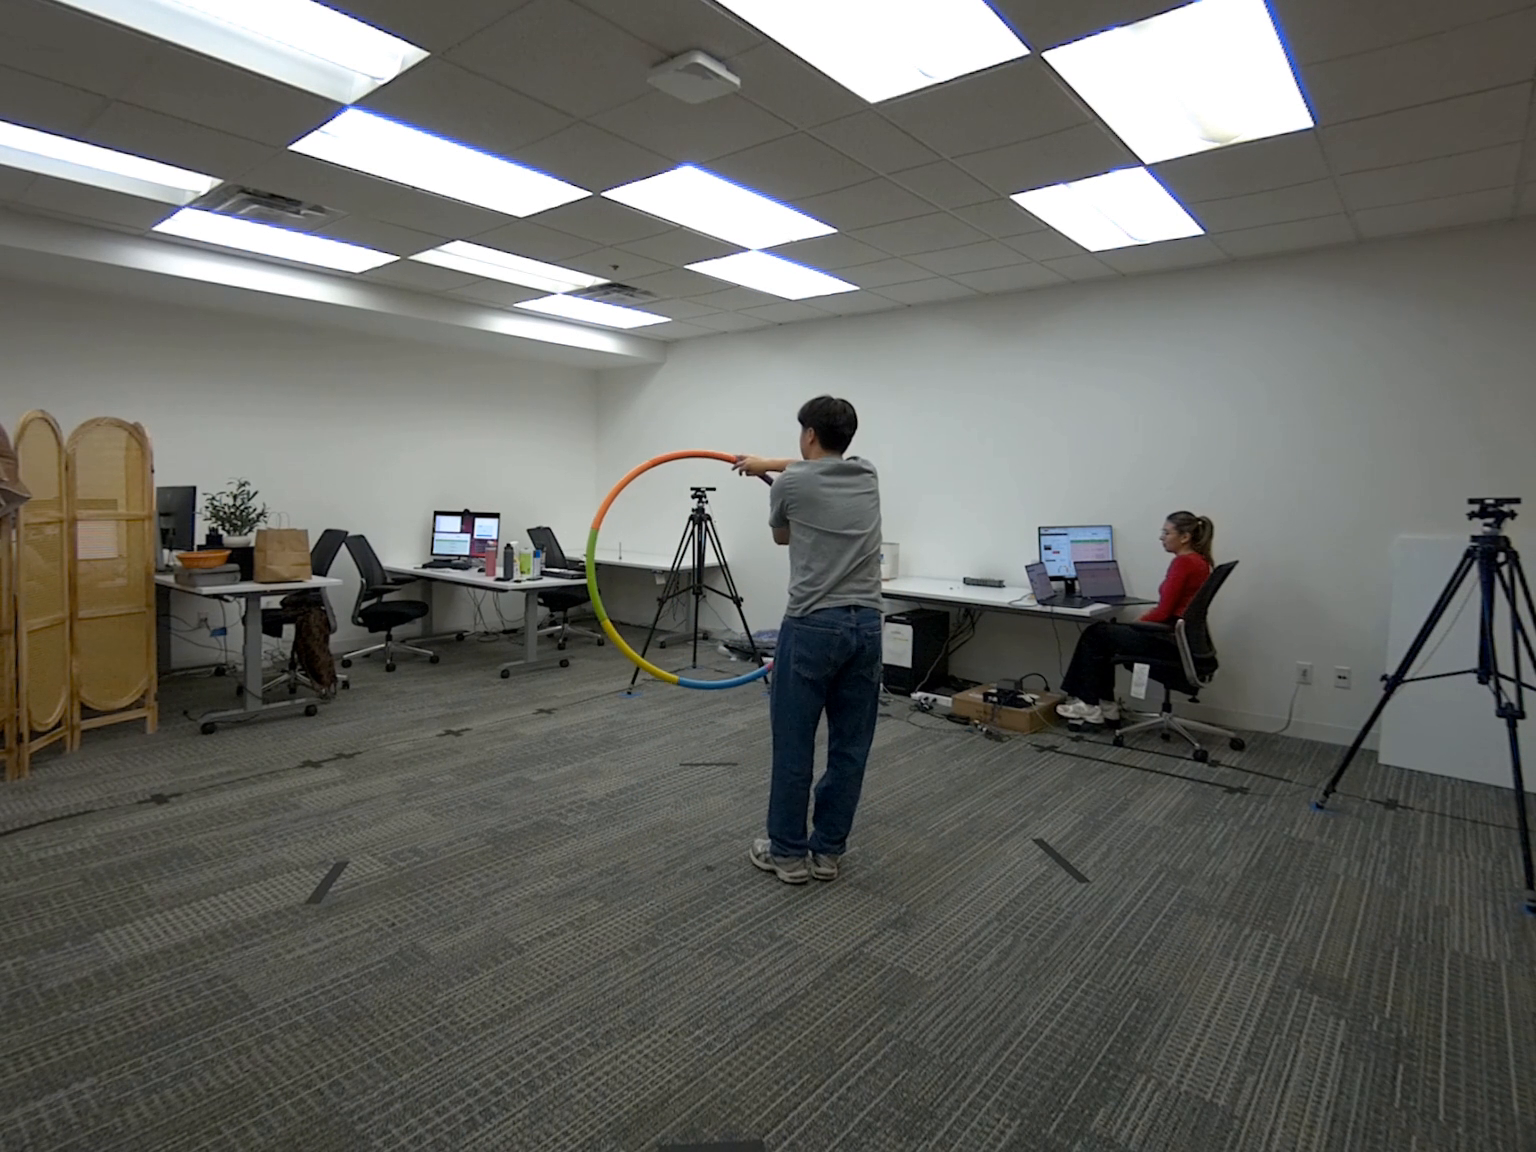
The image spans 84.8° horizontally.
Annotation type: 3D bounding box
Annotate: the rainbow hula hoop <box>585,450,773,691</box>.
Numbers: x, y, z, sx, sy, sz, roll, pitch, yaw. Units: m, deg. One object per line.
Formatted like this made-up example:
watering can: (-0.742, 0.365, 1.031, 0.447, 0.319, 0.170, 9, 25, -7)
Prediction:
rainbow hula hoop: (-0.259, -0.046, 3.447, 0.962, 0.994, 0.035, -1, -15, -16)
